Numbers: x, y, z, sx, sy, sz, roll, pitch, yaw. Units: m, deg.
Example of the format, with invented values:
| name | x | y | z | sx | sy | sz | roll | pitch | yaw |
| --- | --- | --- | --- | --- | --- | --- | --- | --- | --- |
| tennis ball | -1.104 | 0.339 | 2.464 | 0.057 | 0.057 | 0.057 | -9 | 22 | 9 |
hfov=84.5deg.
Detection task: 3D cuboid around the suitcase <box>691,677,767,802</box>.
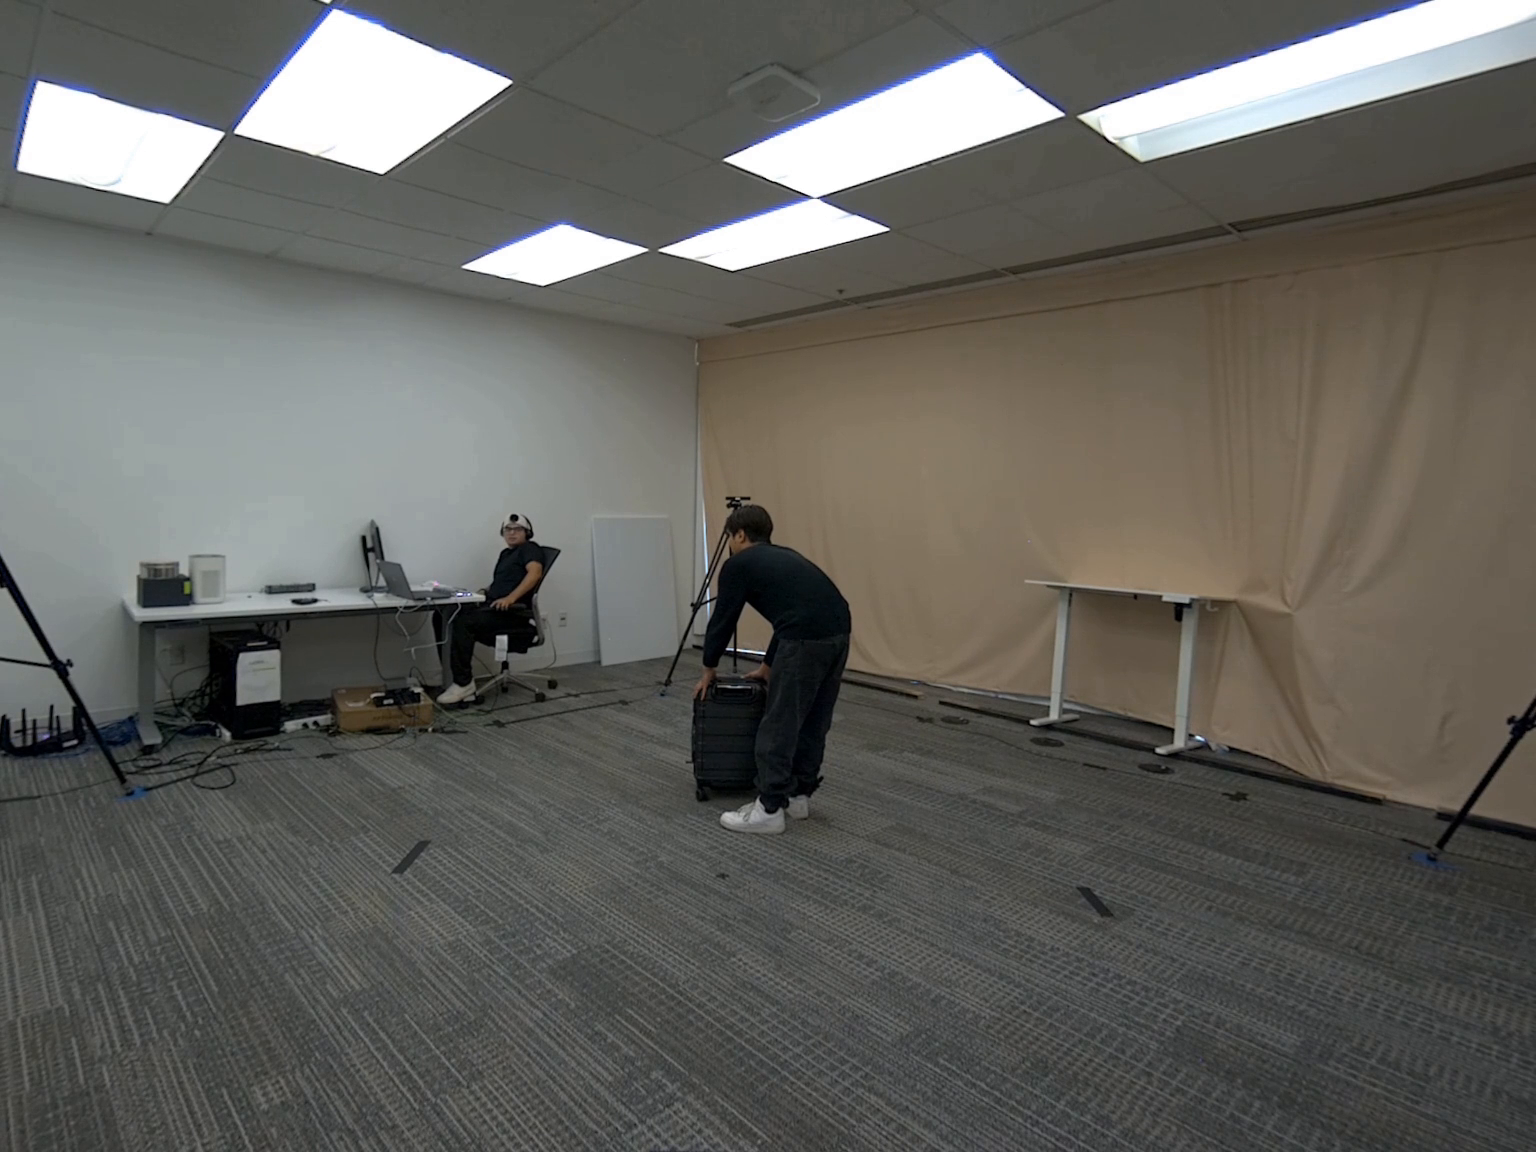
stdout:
| name | x | y | z | sx | sy | sz | roll | pitch | yaw |
| --- | --- | --- | --- | --- | --- | --- | --- | --- | --- |
| suitcase | -0.186 | 0.749 | 4.011 | 0.375 | 0.548 | 0.249 | 1 | 3 | -2 |
